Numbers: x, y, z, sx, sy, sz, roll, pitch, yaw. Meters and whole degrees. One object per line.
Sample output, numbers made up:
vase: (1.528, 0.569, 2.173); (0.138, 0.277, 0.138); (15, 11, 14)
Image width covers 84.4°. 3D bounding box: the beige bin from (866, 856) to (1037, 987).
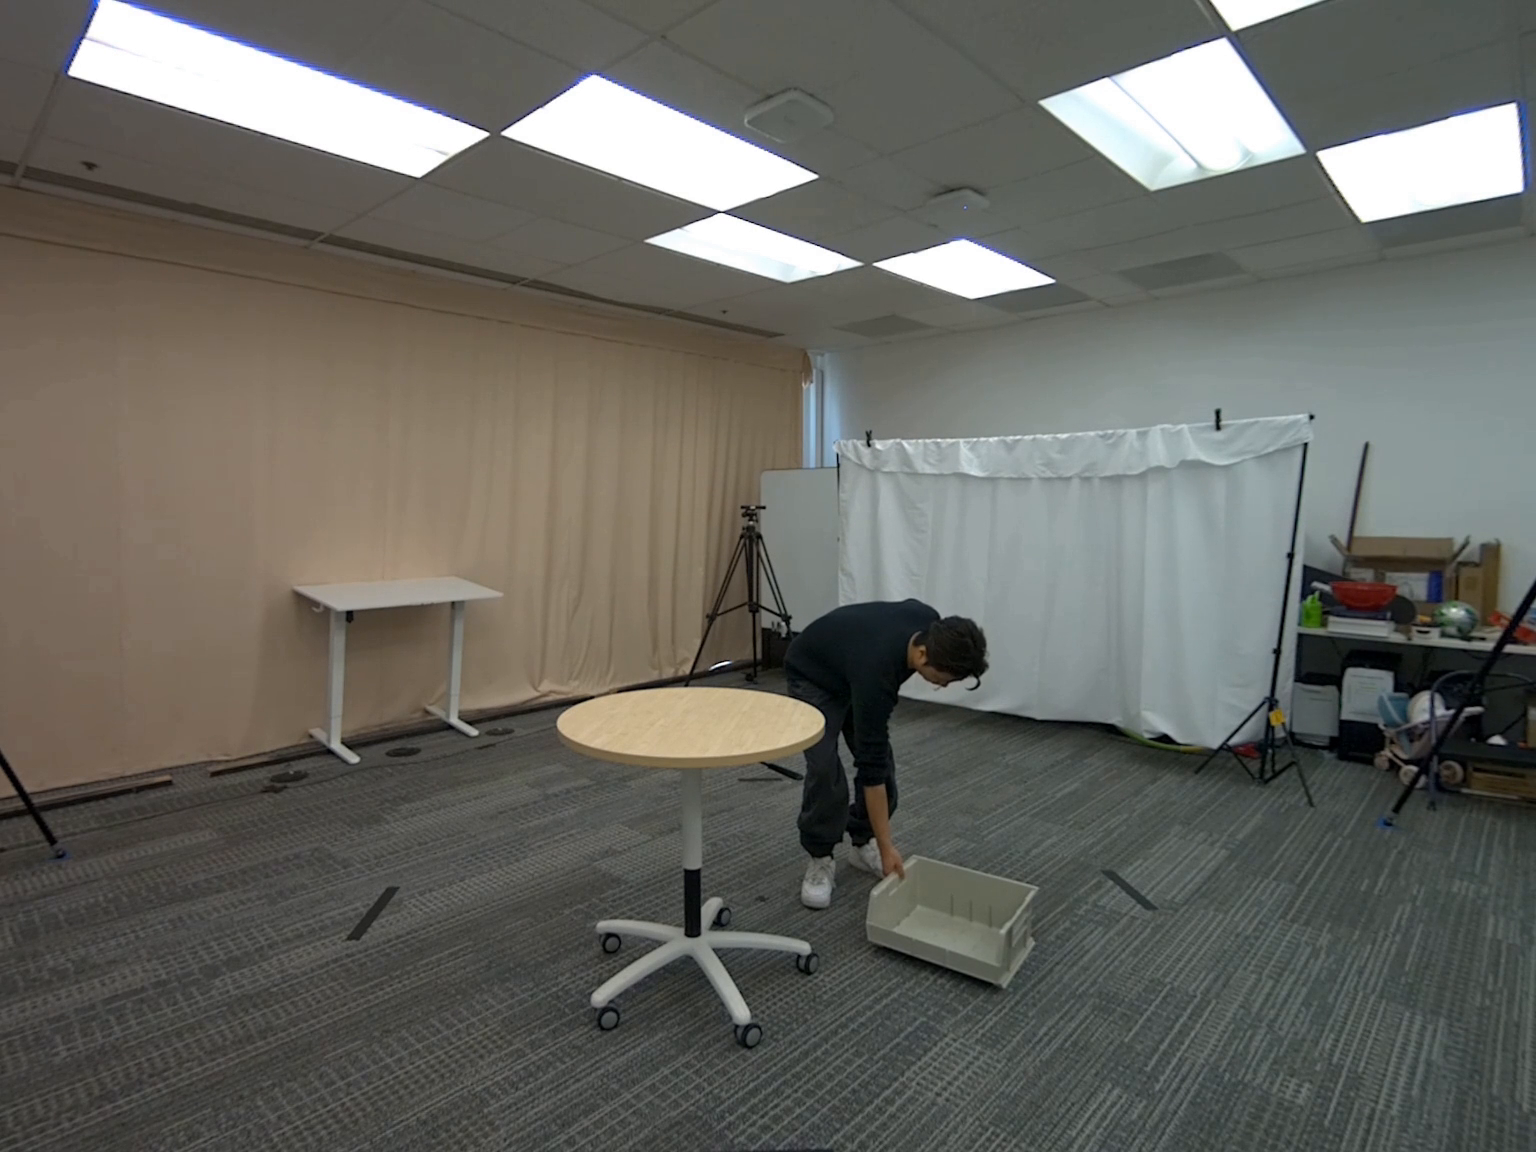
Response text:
beige bin: (0.589, 1.081, 2.647); (0.435, 0.188, 0.366); (3, 4, 34)
